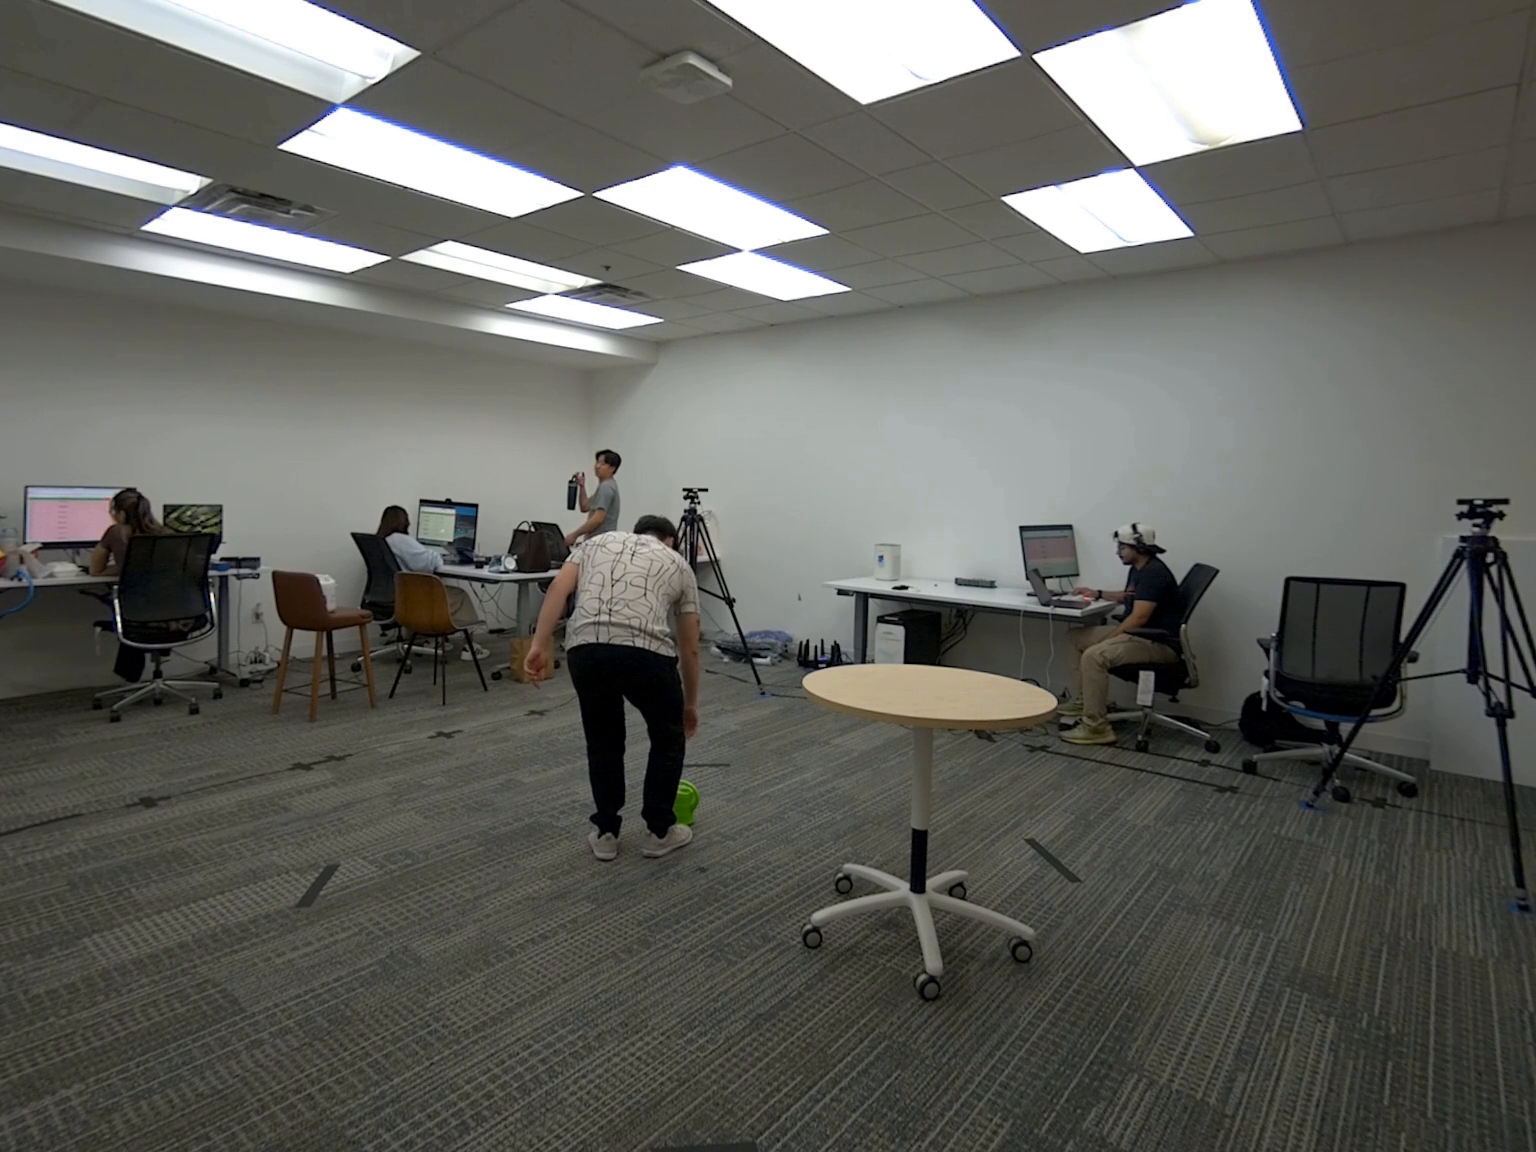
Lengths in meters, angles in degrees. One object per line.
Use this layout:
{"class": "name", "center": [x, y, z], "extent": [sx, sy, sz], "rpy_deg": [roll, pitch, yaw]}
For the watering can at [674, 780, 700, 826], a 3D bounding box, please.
{"class": "watering can", "center": [-0.416, 0.928, 3.575], "extent": [0.288, 0.176, 0.095], "rpy_deg": [4, 4, 43]}
